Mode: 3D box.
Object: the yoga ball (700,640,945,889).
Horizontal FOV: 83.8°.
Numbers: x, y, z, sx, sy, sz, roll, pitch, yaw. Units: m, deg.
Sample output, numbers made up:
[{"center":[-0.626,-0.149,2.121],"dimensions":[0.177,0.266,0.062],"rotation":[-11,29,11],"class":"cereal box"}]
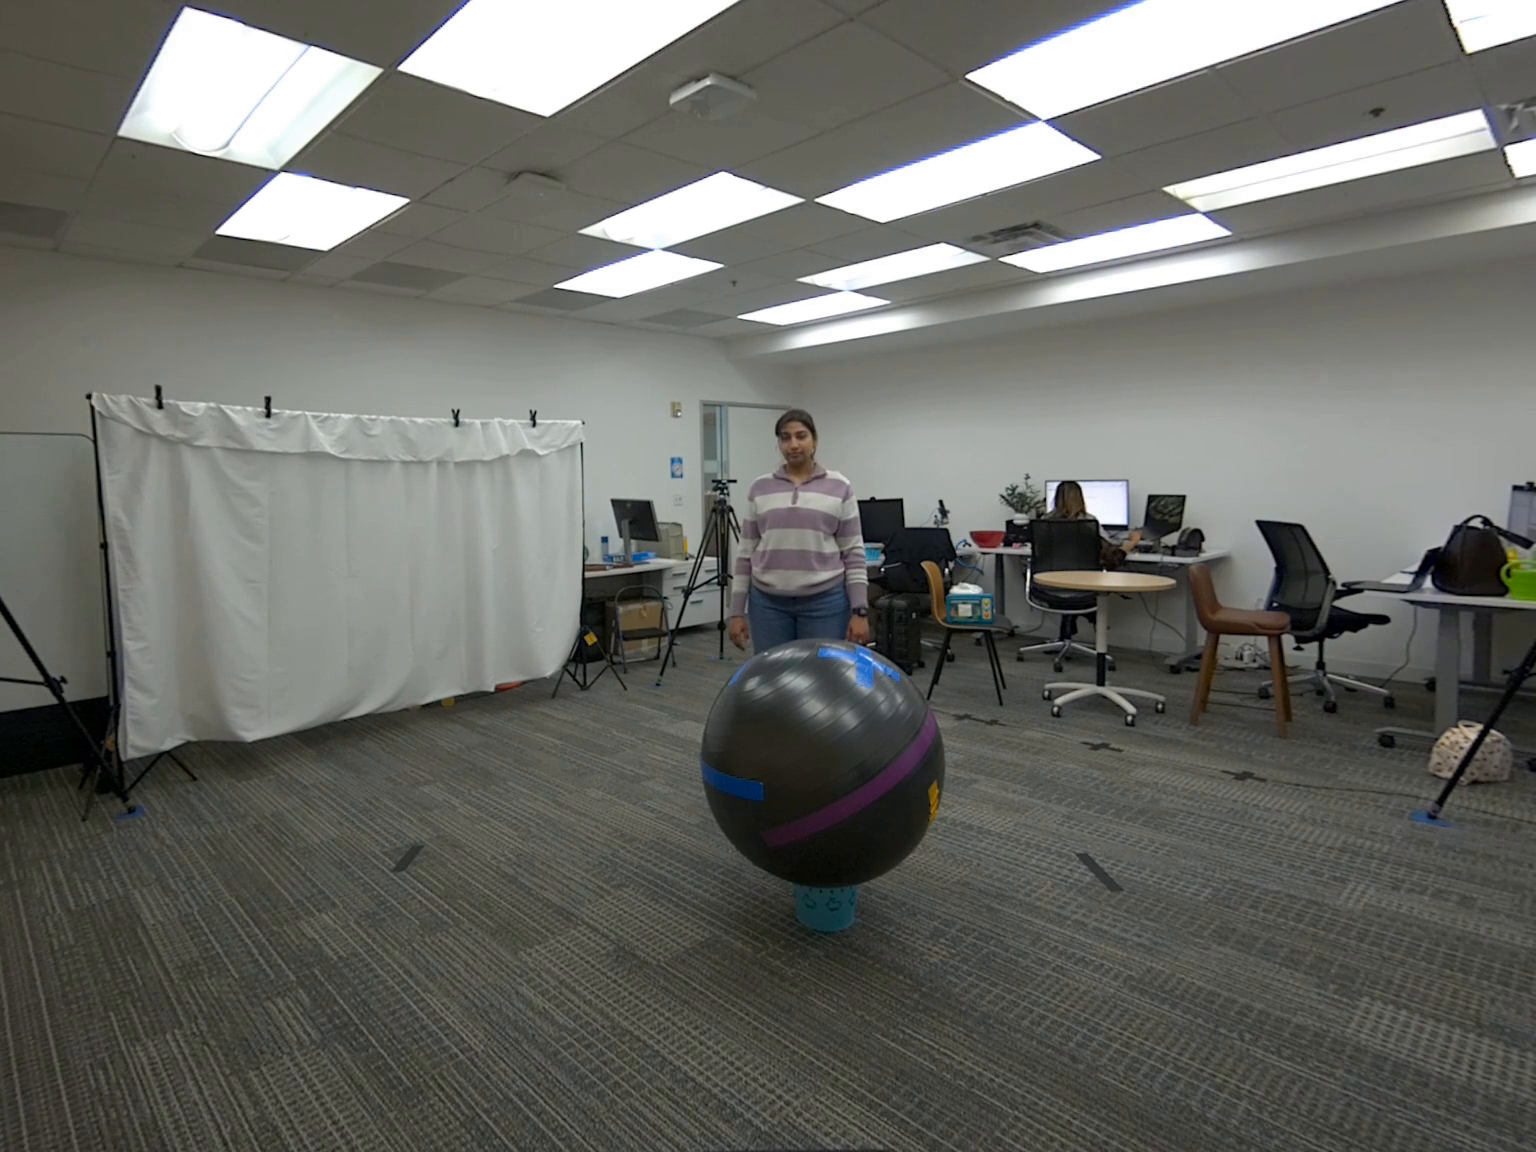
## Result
[{"center":[0.166,0.584,2.695],"dimensions":[0.757,0.755,0.762],"rotation":[-1,5,-2],"class":"yoga ball"}]
